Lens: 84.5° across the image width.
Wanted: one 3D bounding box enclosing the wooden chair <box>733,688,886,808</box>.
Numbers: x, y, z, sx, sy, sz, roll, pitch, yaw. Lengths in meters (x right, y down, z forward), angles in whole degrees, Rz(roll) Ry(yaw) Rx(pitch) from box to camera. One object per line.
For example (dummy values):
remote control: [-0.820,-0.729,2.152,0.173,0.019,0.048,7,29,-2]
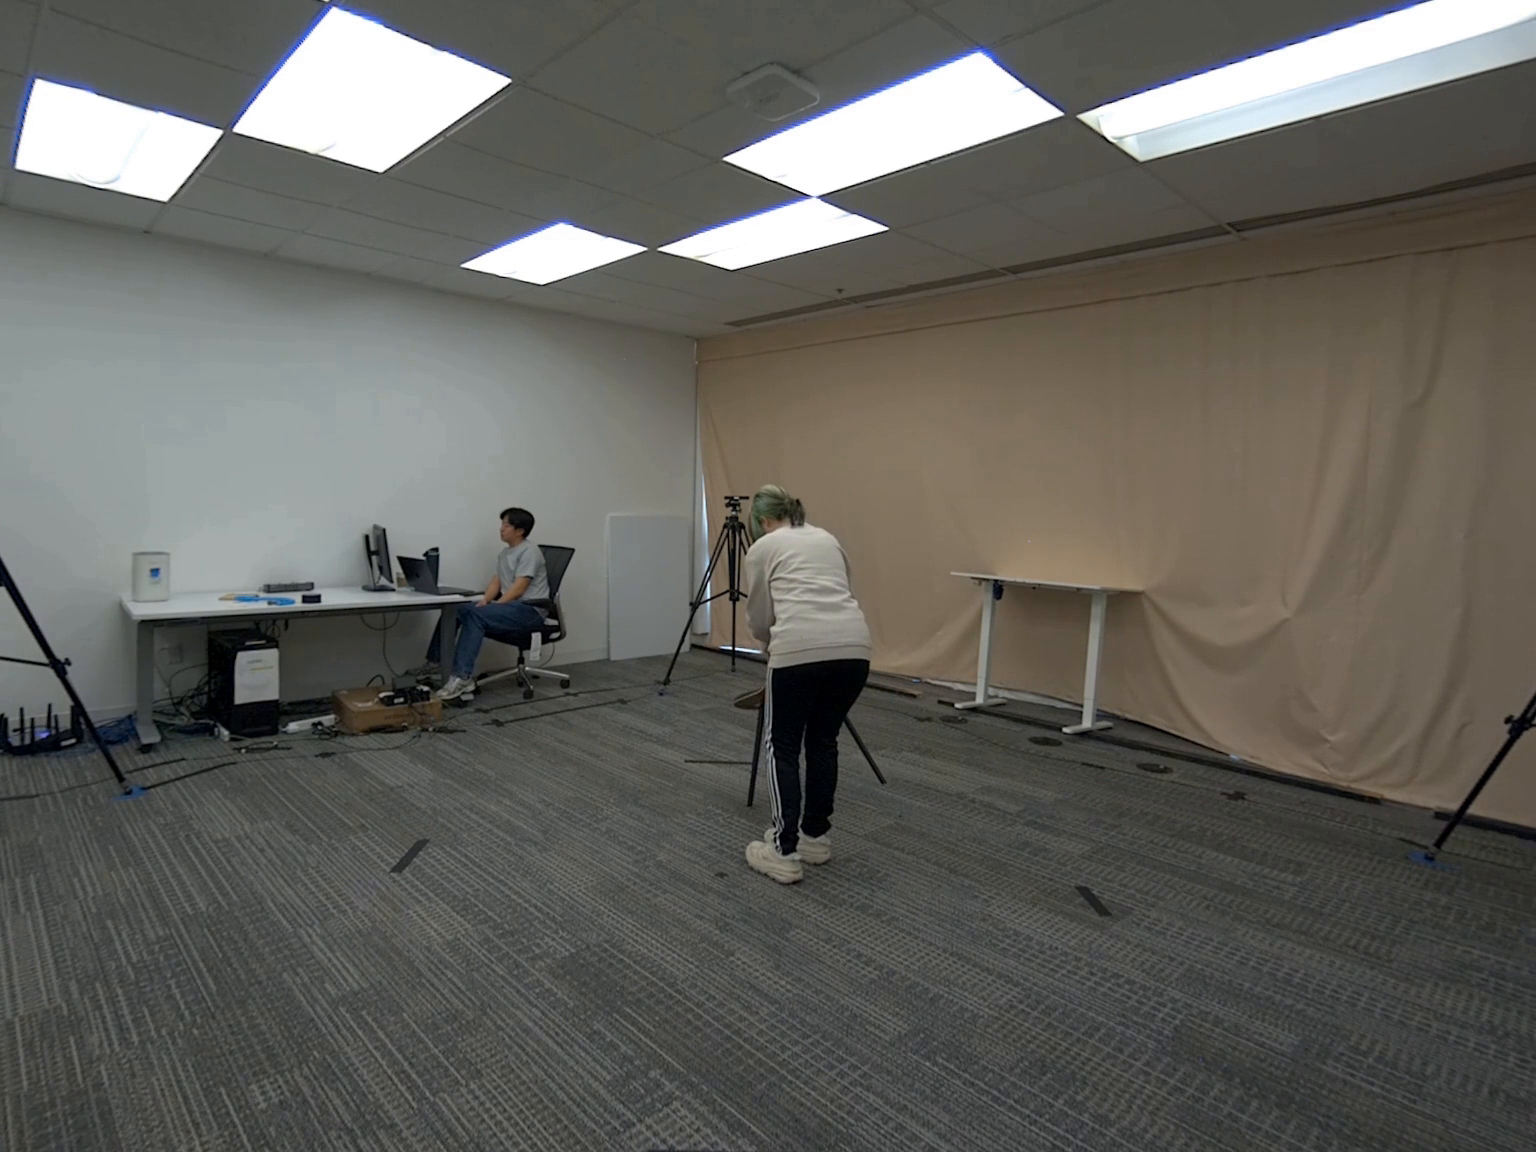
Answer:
wooden chair: [0.120,0.566,3.836,0.468,0.886,0.528,-2,-14,-30]
